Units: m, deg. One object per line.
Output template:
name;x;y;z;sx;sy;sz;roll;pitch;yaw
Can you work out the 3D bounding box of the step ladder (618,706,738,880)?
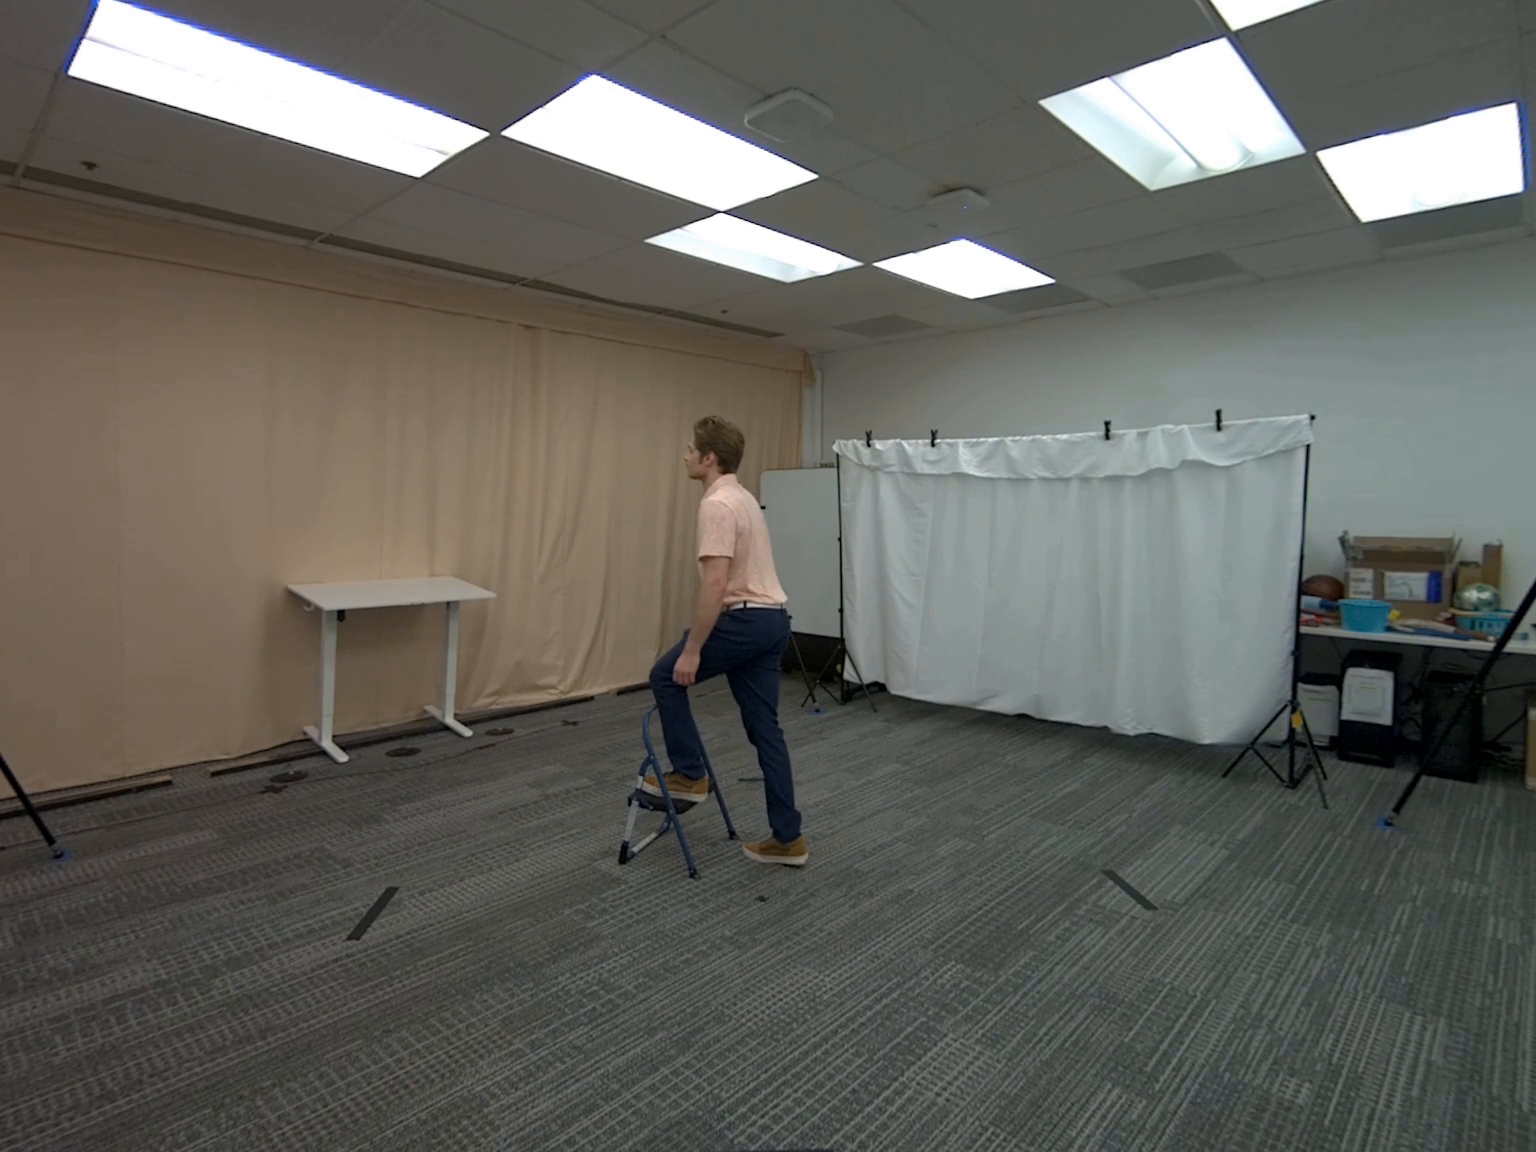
step ladder;-0.358;0.809;3.392;0.357;0.605;0.422;0;3;21
